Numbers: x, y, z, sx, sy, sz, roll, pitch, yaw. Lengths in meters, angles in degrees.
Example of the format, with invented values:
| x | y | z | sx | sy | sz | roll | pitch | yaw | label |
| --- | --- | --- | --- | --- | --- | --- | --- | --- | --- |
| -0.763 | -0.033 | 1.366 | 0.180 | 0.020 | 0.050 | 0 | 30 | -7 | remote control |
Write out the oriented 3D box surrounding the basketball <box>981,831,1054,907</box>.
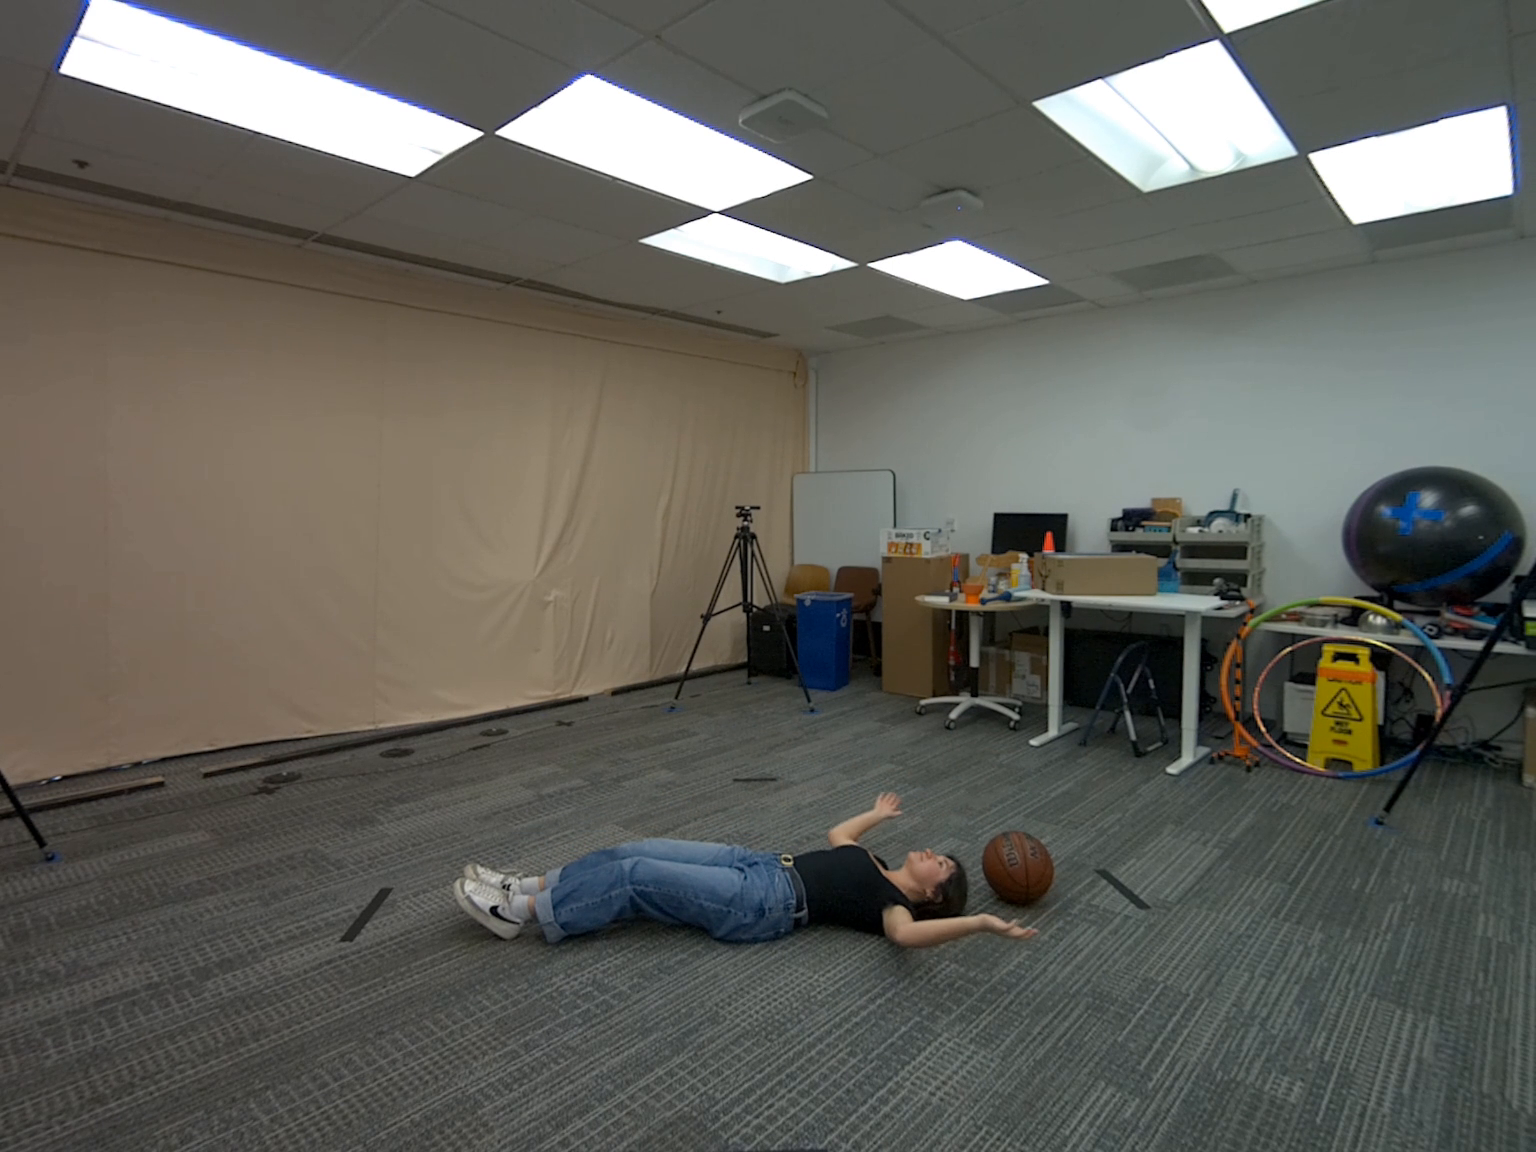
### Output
| x | y | z | sx | sy | sz | roll | pitch | yaw | label |
| --- | --- | --- | --- | --- | --- | --- | --- | --- | --- |
| 0.885 | 1.023 | 2.966 | 0.236 | 0.235 | 0.237 | 0 | 4 | -2 | basketball |
